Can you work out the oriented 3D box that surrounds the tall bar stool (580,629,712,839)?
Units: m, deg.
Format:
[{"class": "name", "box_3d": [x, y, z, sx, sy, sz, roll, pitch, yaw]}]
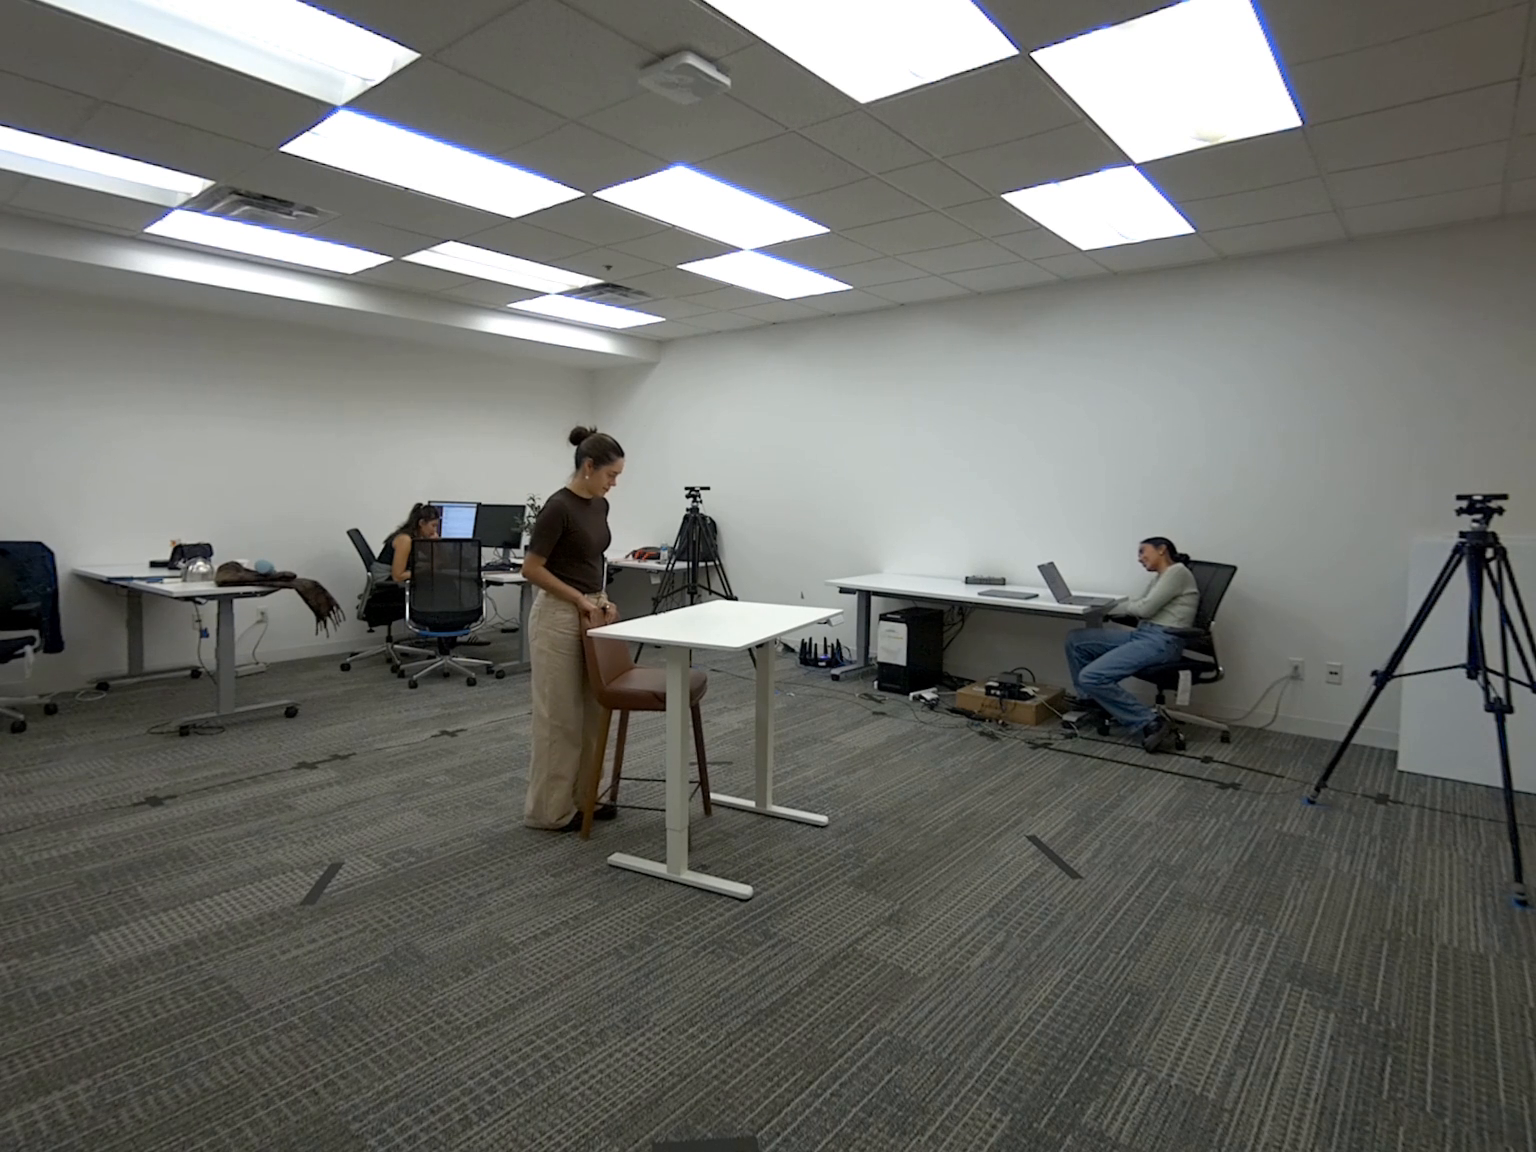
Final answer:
[{"class": "tall bar stool", "box_3d": [-0.503, 0.592, 3.460, 0.474, 0.888, 0.452, -1, 3, 11]}]
